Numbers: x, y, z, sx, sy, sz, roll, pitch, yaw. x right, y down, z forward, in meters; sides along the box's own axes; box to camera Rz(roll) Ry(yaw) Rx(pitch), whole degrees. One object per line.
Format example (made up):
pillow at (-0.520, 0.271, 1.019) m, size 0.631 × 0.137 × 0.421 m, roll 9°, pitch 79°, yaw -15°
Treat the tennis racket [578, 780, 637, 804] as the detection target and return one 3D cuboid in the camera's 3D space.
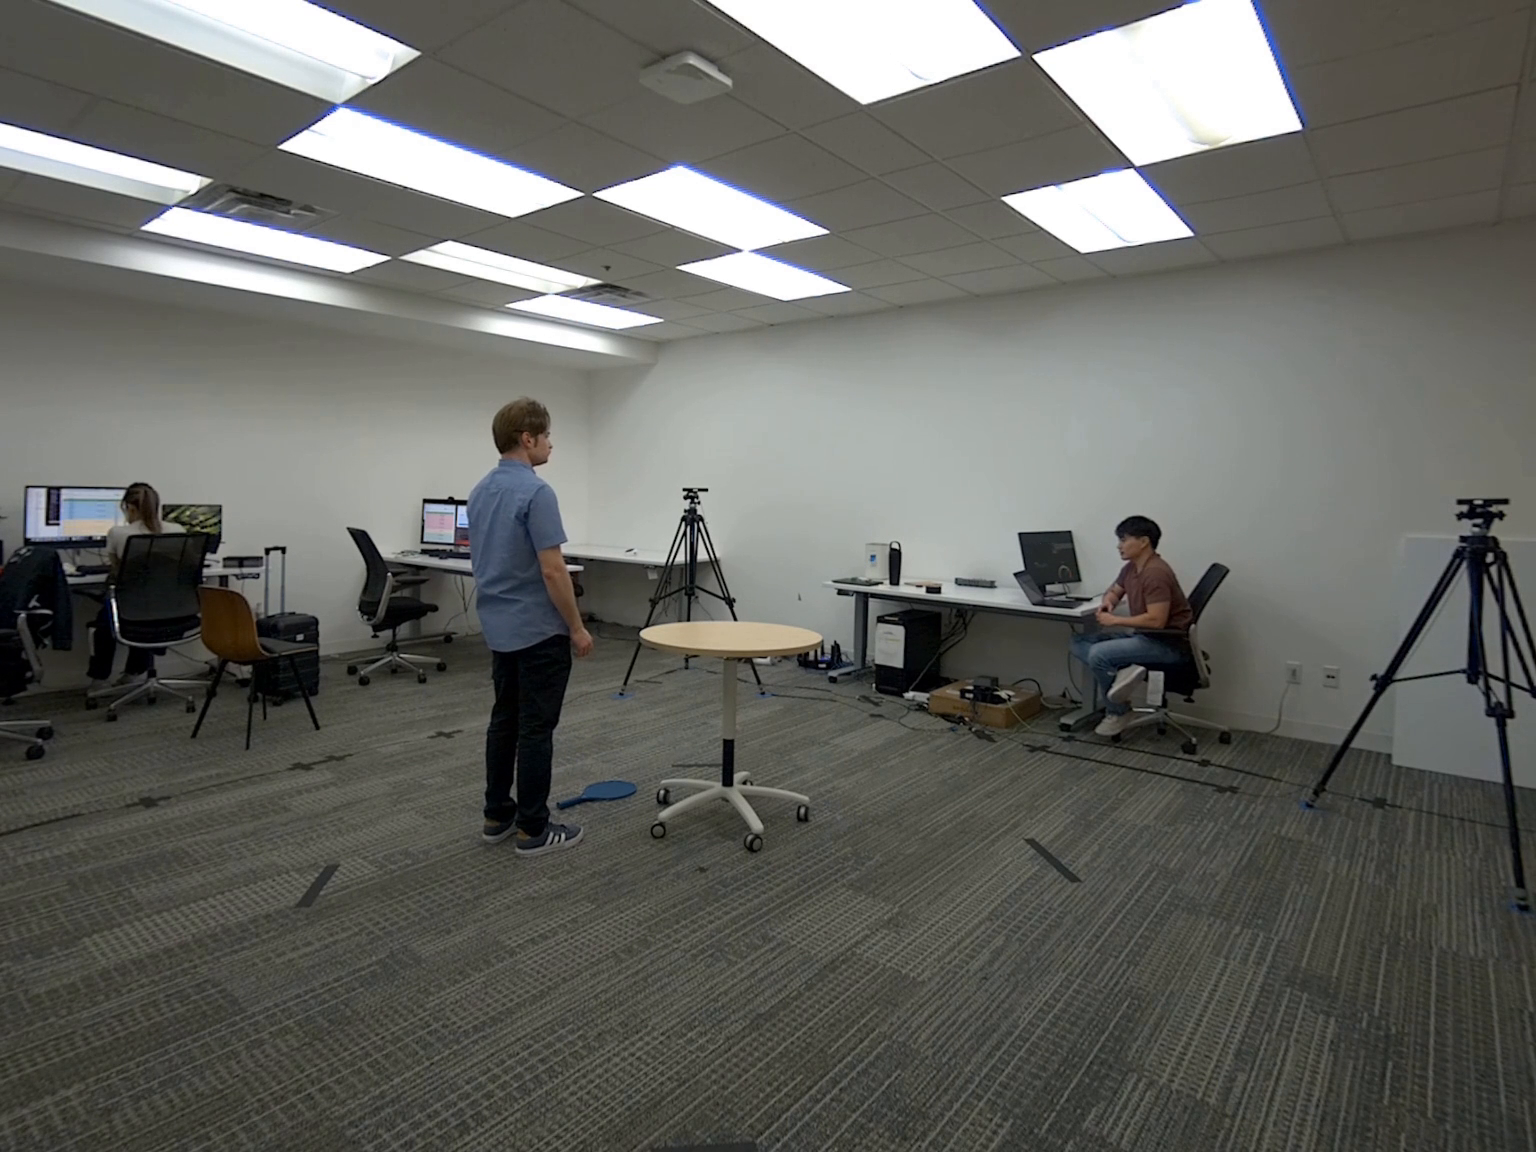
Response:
tennis racket at (-0.787, 0.979, 3.833) m, size 0.221 × 0.031 × 0.420 m, roll 6°, pitch 6°, yaw 38°
